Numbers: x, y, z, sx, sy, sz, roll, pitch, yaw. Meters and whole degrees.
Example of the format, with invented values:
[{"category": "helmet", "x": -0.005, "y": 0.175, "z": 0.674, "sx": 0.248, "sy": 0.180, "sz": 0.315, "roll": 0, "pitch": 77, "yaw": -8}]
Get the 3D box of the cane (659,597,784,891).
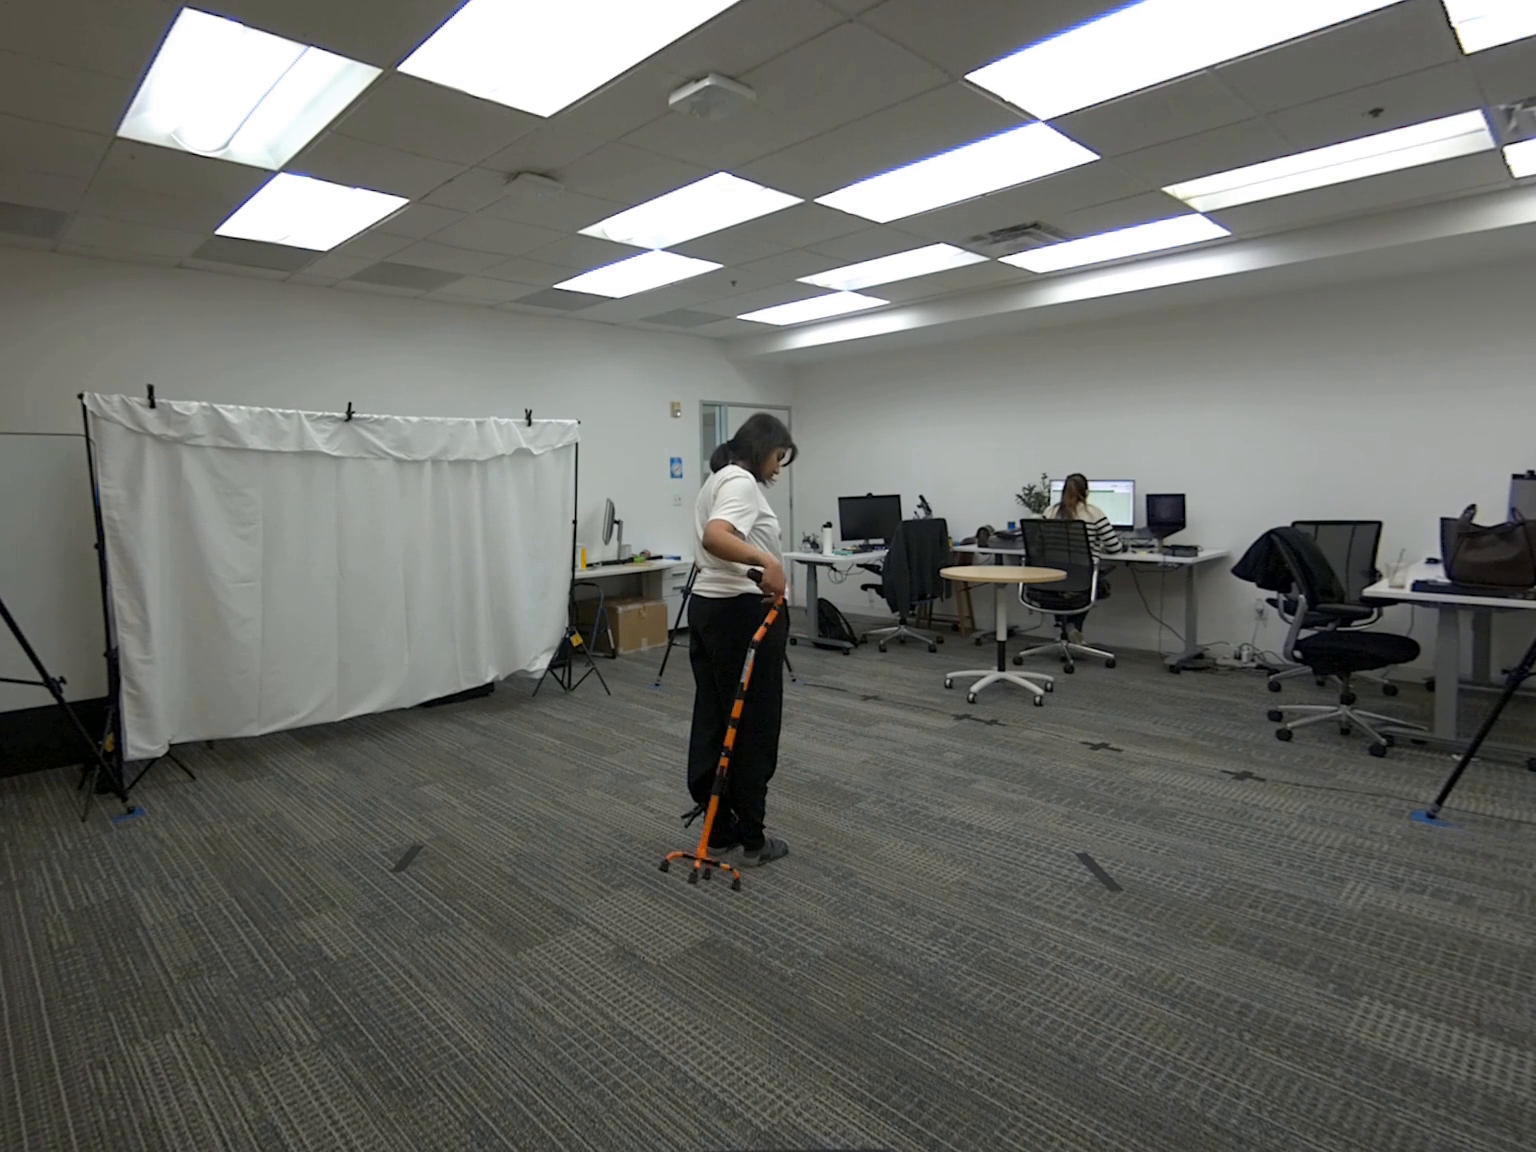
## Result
[{"category": "cane", "x": -0.081, "y": 0.455, "z": 2.551, "sx": 0.156, "sy": 0.917, "sz": 0.199, "roll": -4, "pitch": -22, "yaw": 46}]
